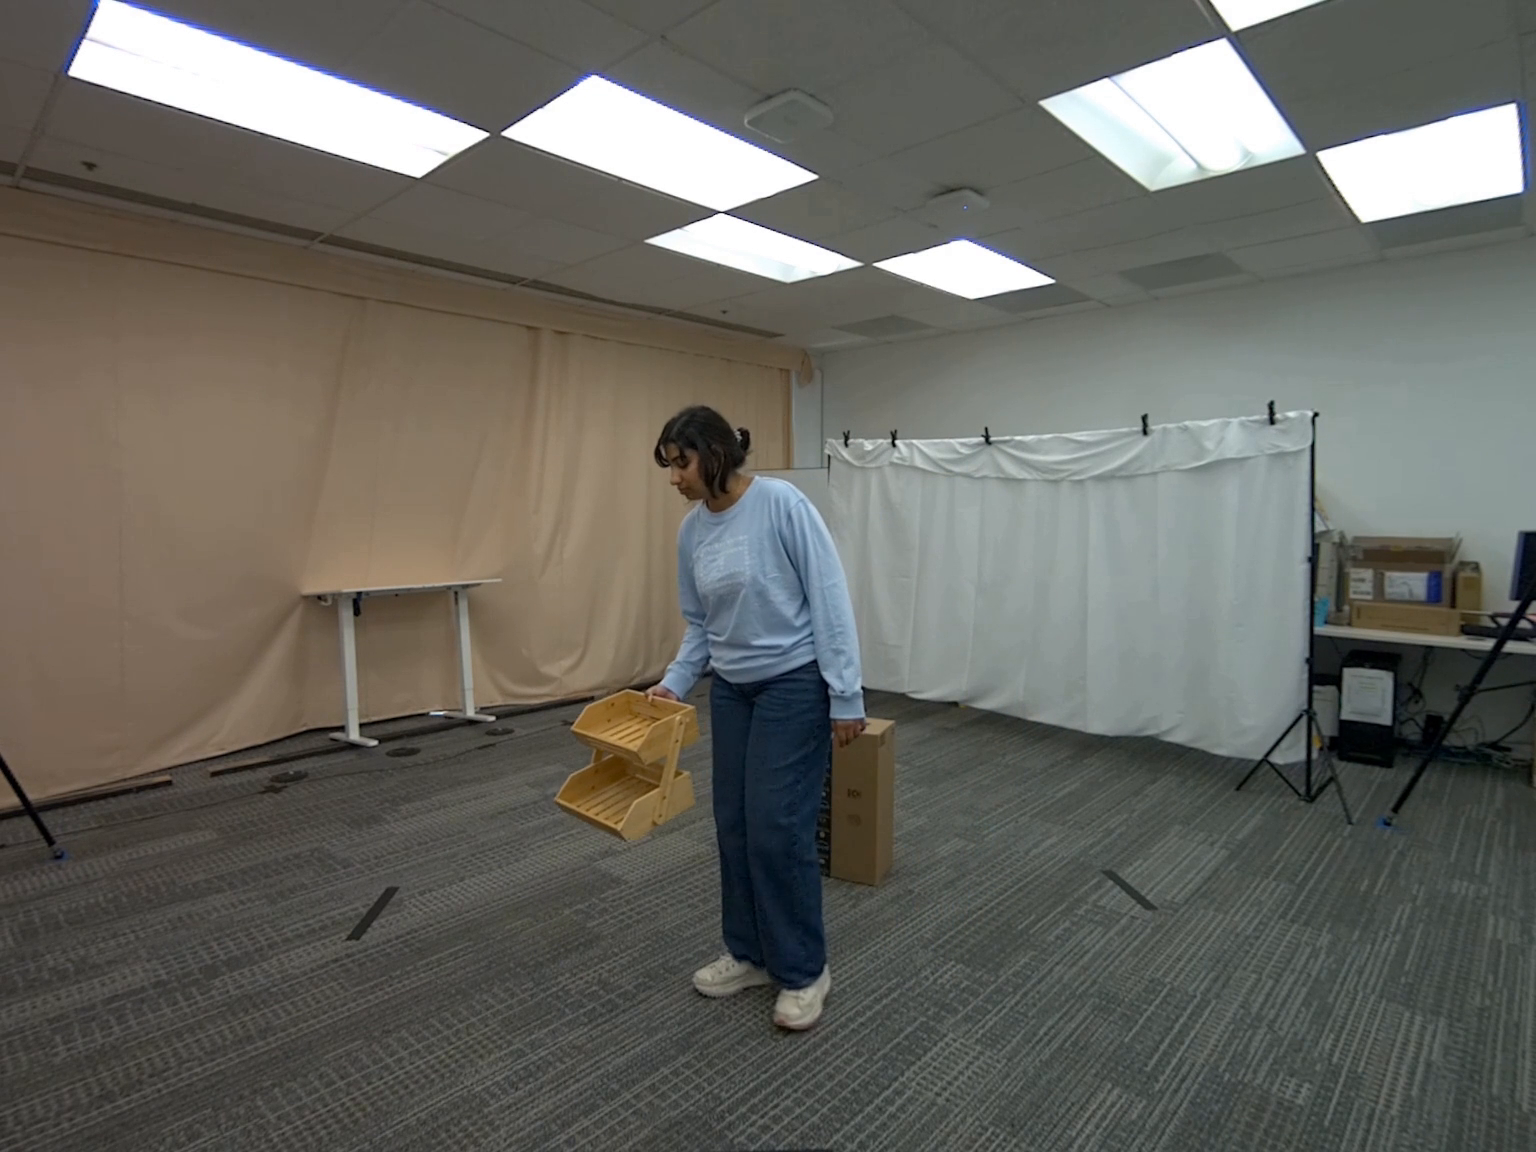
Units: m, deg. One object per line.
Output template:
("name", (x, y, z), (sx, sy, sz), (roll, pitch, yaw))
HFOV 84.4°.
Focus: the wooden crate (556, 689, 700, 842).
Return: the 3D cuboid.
("wooden crate", (-0.383, 0.500, 2.276), (0.335, 0.271, 0.294), (4, 16, 44))
